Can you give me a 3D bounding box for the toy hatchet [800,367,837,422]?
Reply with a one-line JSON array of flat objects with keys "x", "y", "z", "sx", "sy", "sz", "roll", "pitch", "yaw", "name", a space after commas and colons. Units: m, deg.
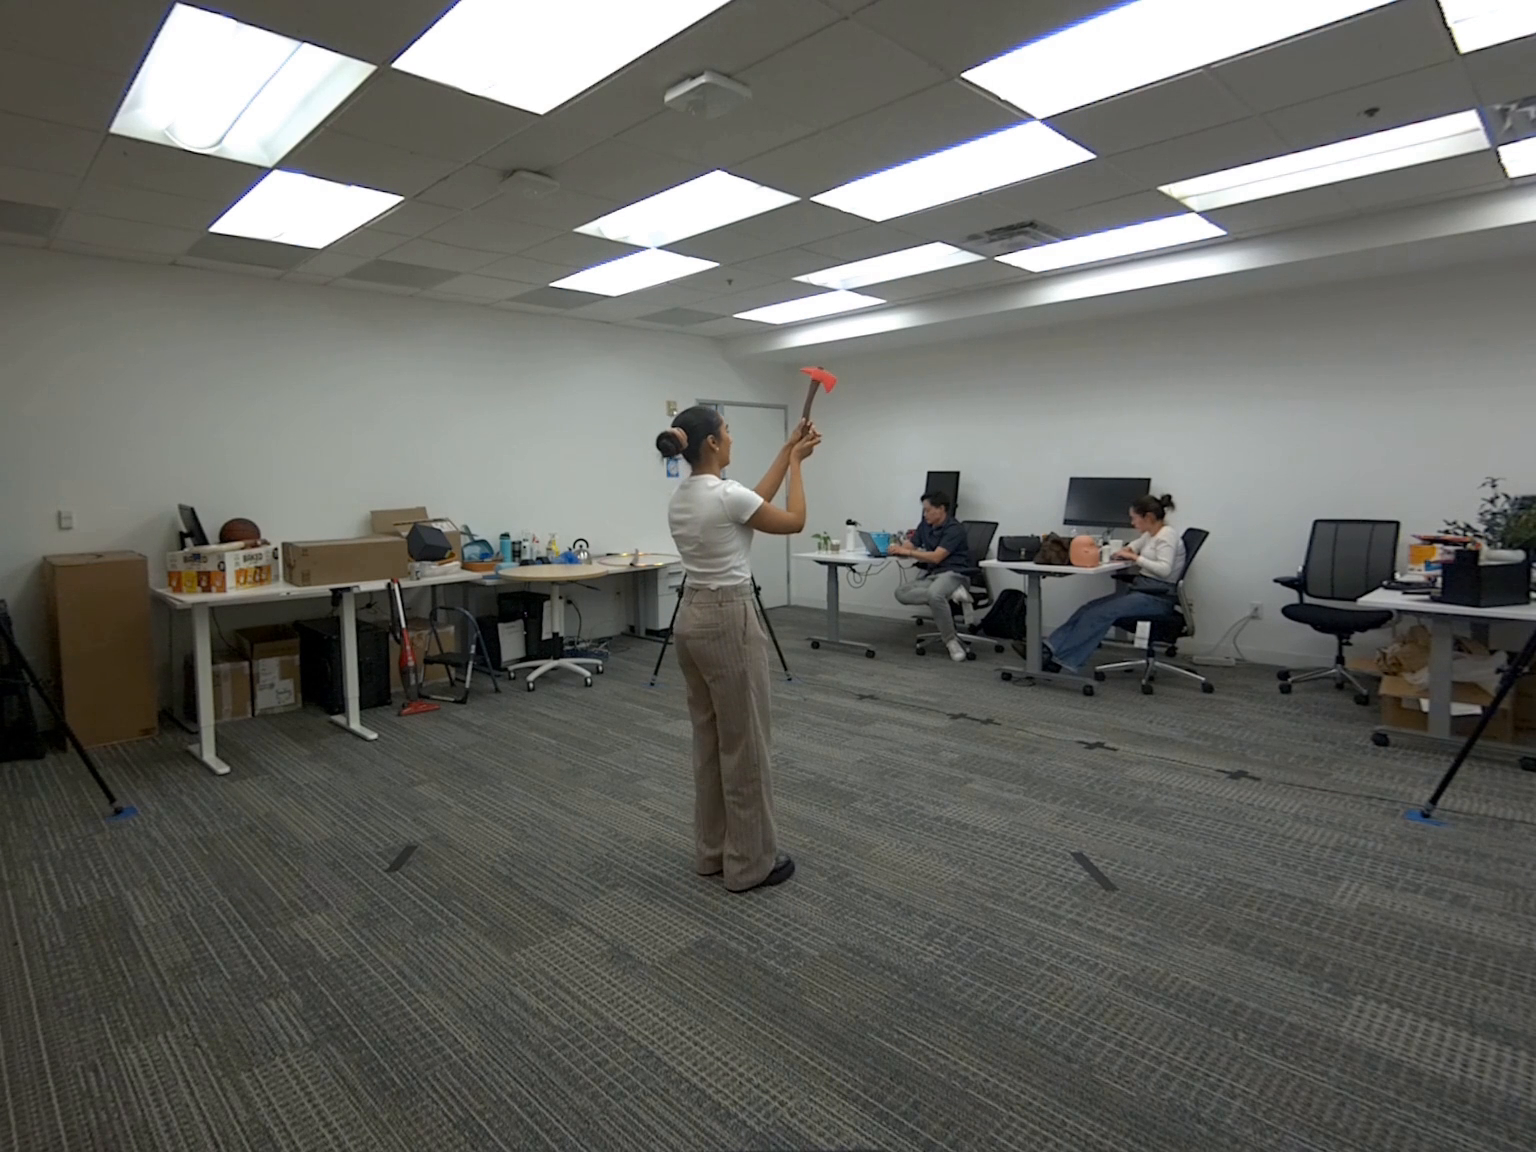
[{"x": 0.184, "y": -0.623, "z": 3.071, "sx": 0.131, "sy": 0.270, "sz": 0.029, "roll": 0, "pitch": 1, "yaw": -1, "name": "toy hatchet"}]
